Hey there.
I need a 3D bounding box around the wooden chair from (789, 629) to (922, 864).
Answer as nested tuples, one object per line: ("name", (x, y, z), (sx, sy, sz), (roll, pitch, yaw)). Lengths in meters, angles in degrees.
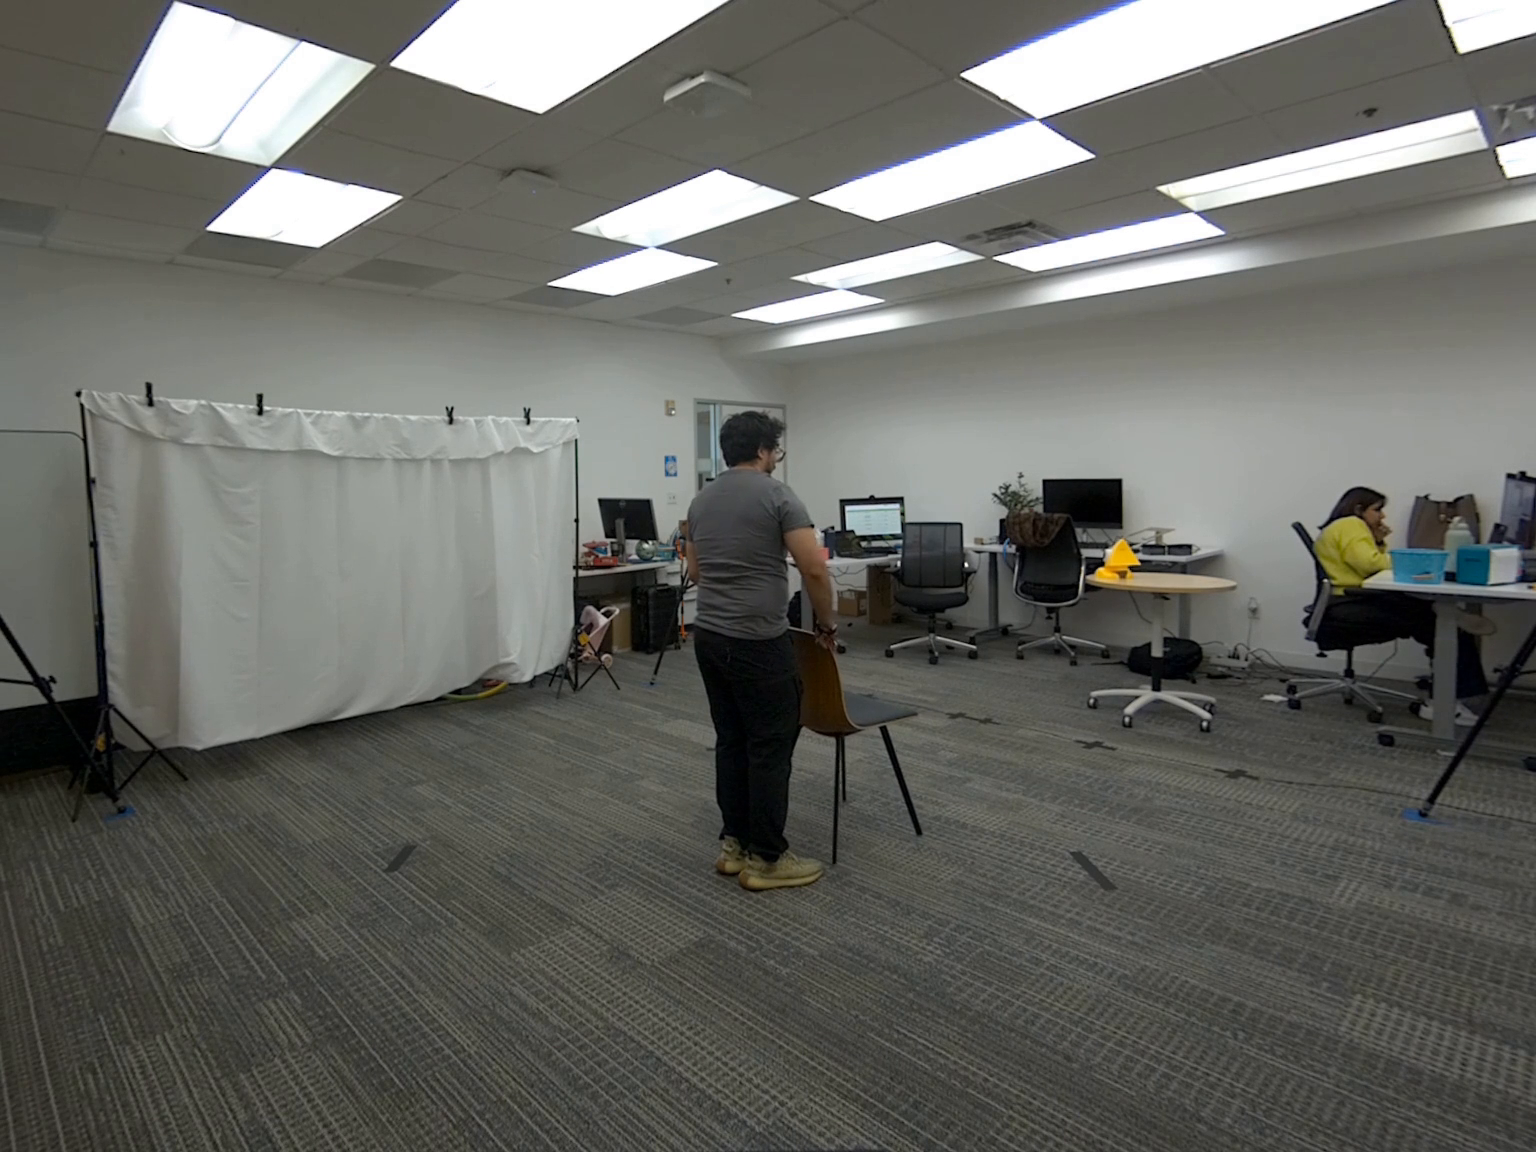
("wooden chair", (0.284, 0.581, 3.362), (0.511, 0.872, 0.492), (-9, 8, -34))
